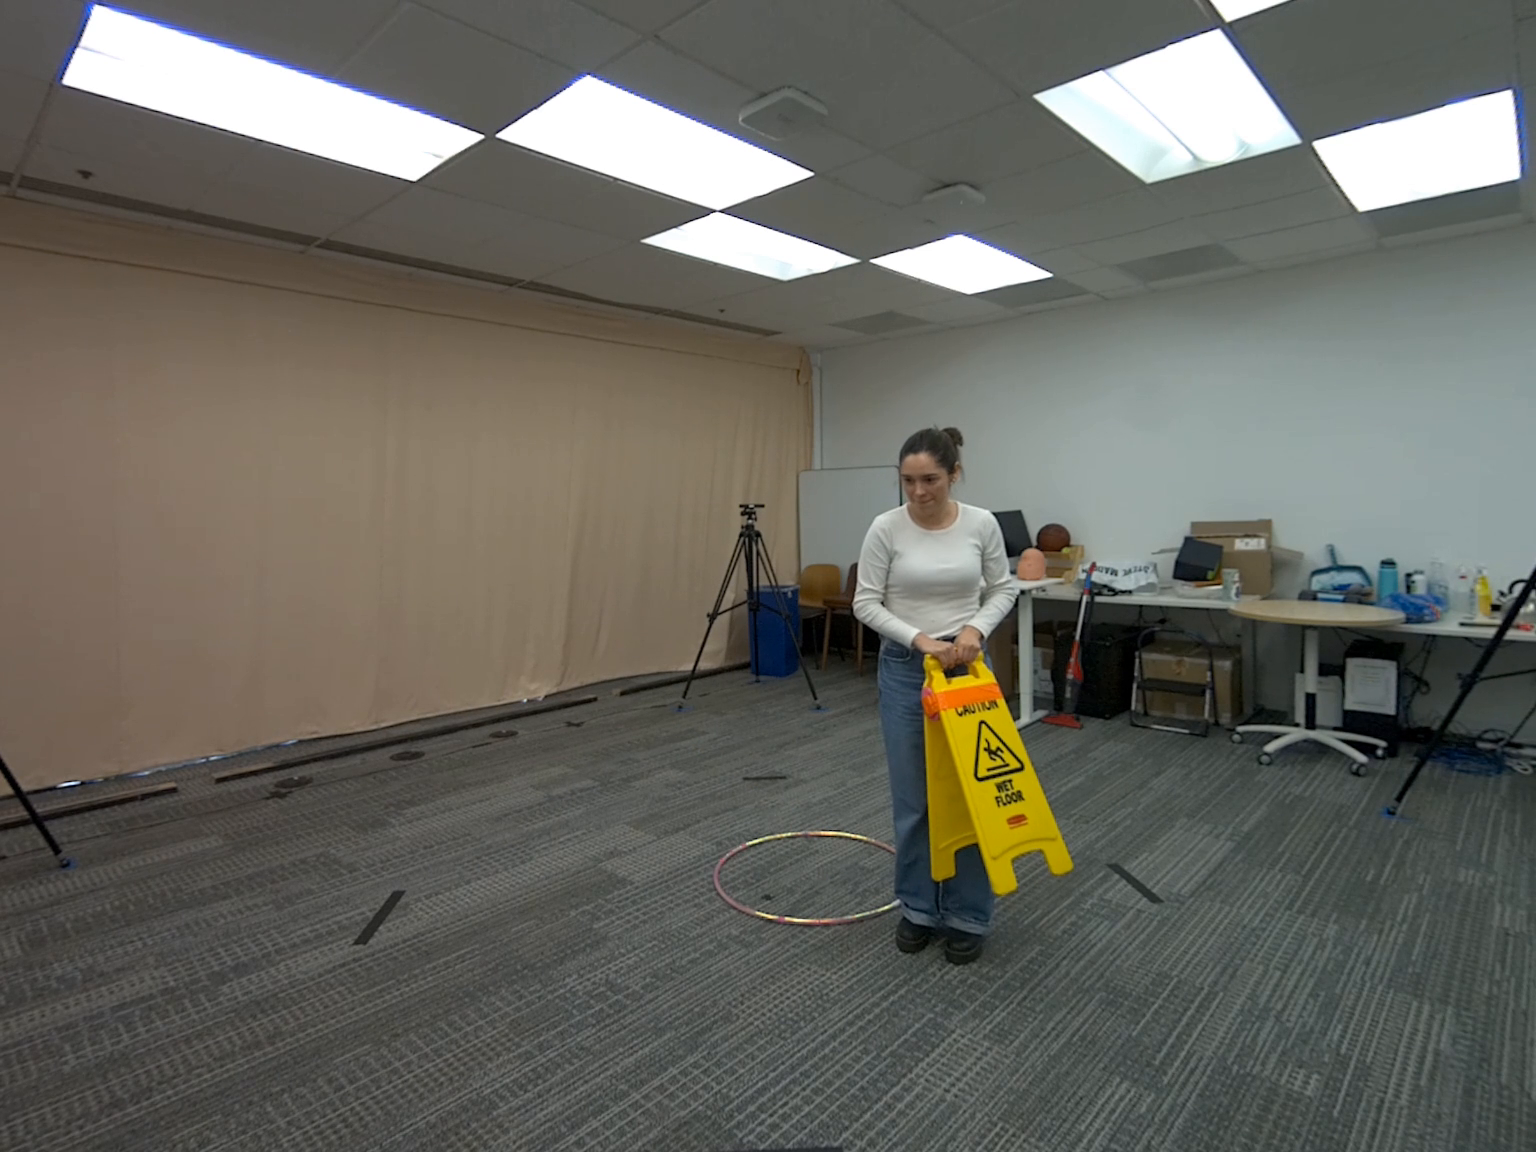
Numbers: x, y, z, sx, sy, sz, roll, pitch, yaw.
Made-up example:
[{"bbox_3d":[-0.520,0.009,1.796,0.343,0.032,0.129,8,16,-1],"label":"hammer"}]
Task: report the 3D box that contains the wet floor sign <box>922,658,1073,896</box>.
[{"bbox_3d":[0.605,0.535,2.435,0.276,0.651,0.294,-7,-10,-26],"label":"wet floor sign"}]
